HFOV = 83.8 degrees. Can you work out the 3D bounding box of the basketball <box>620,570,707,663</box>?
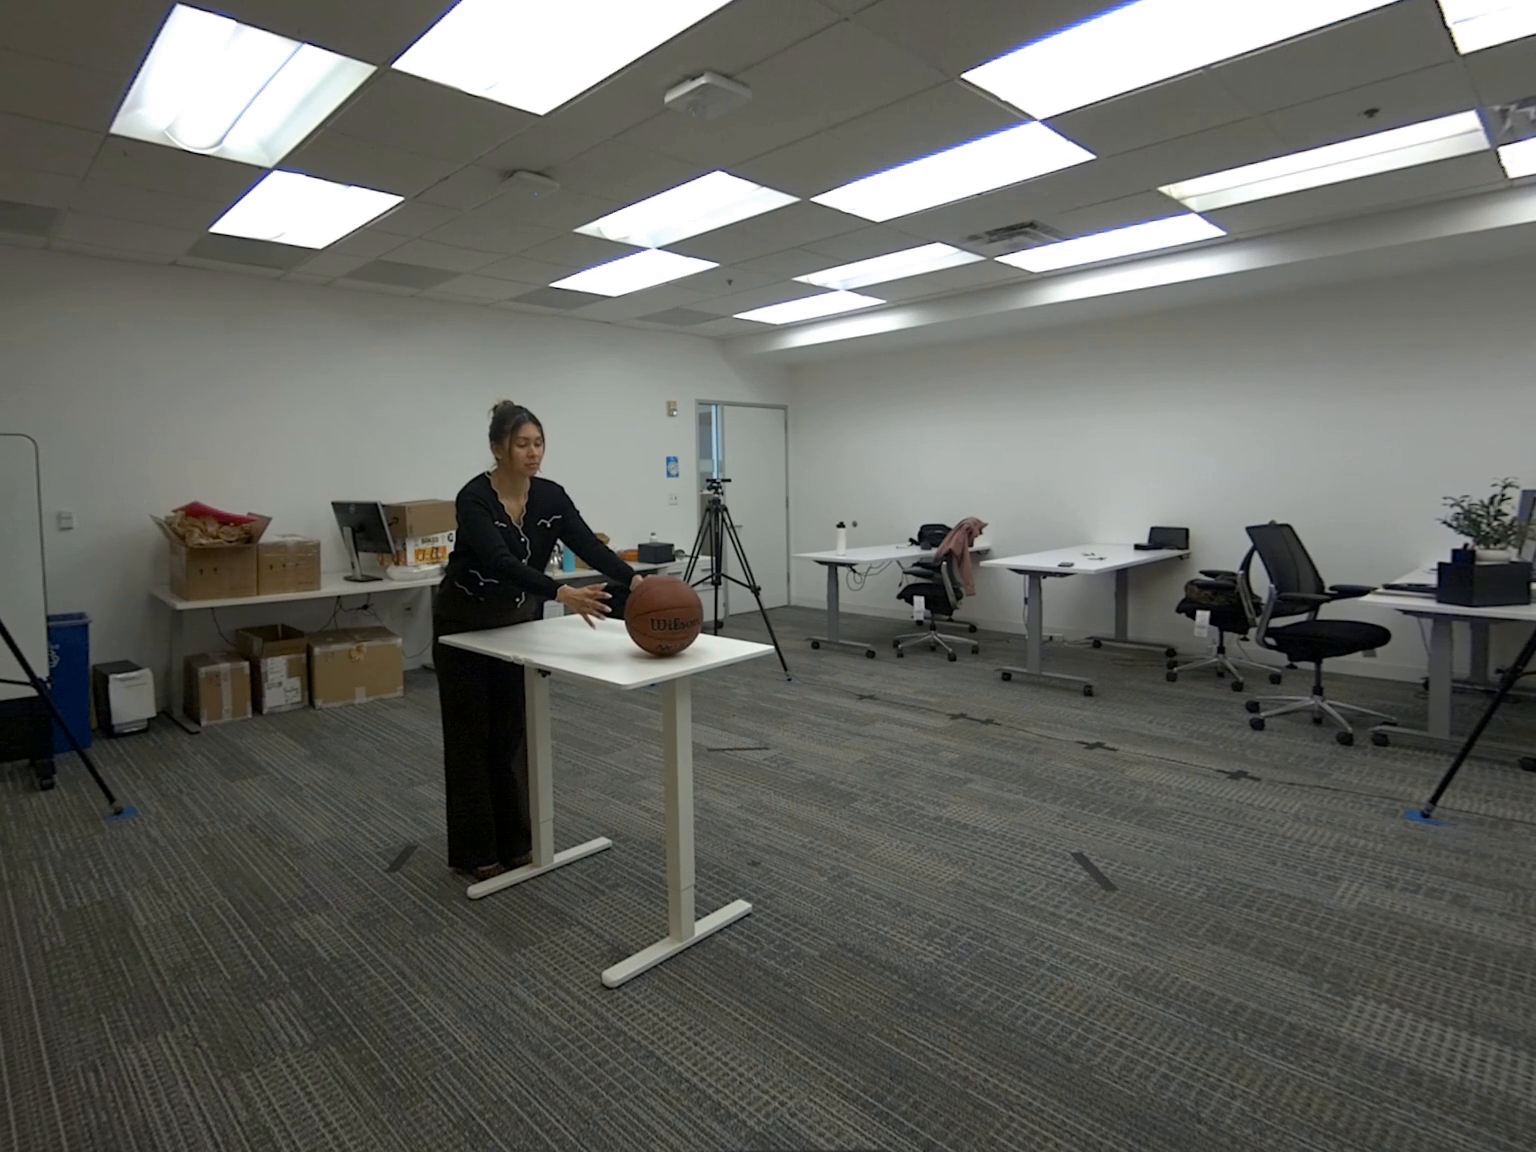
[{"bbox_3d":[-0.308,0.113,2.550,0.236,0.235,0.237,-1,5,-2],"label":"basketball"}]
